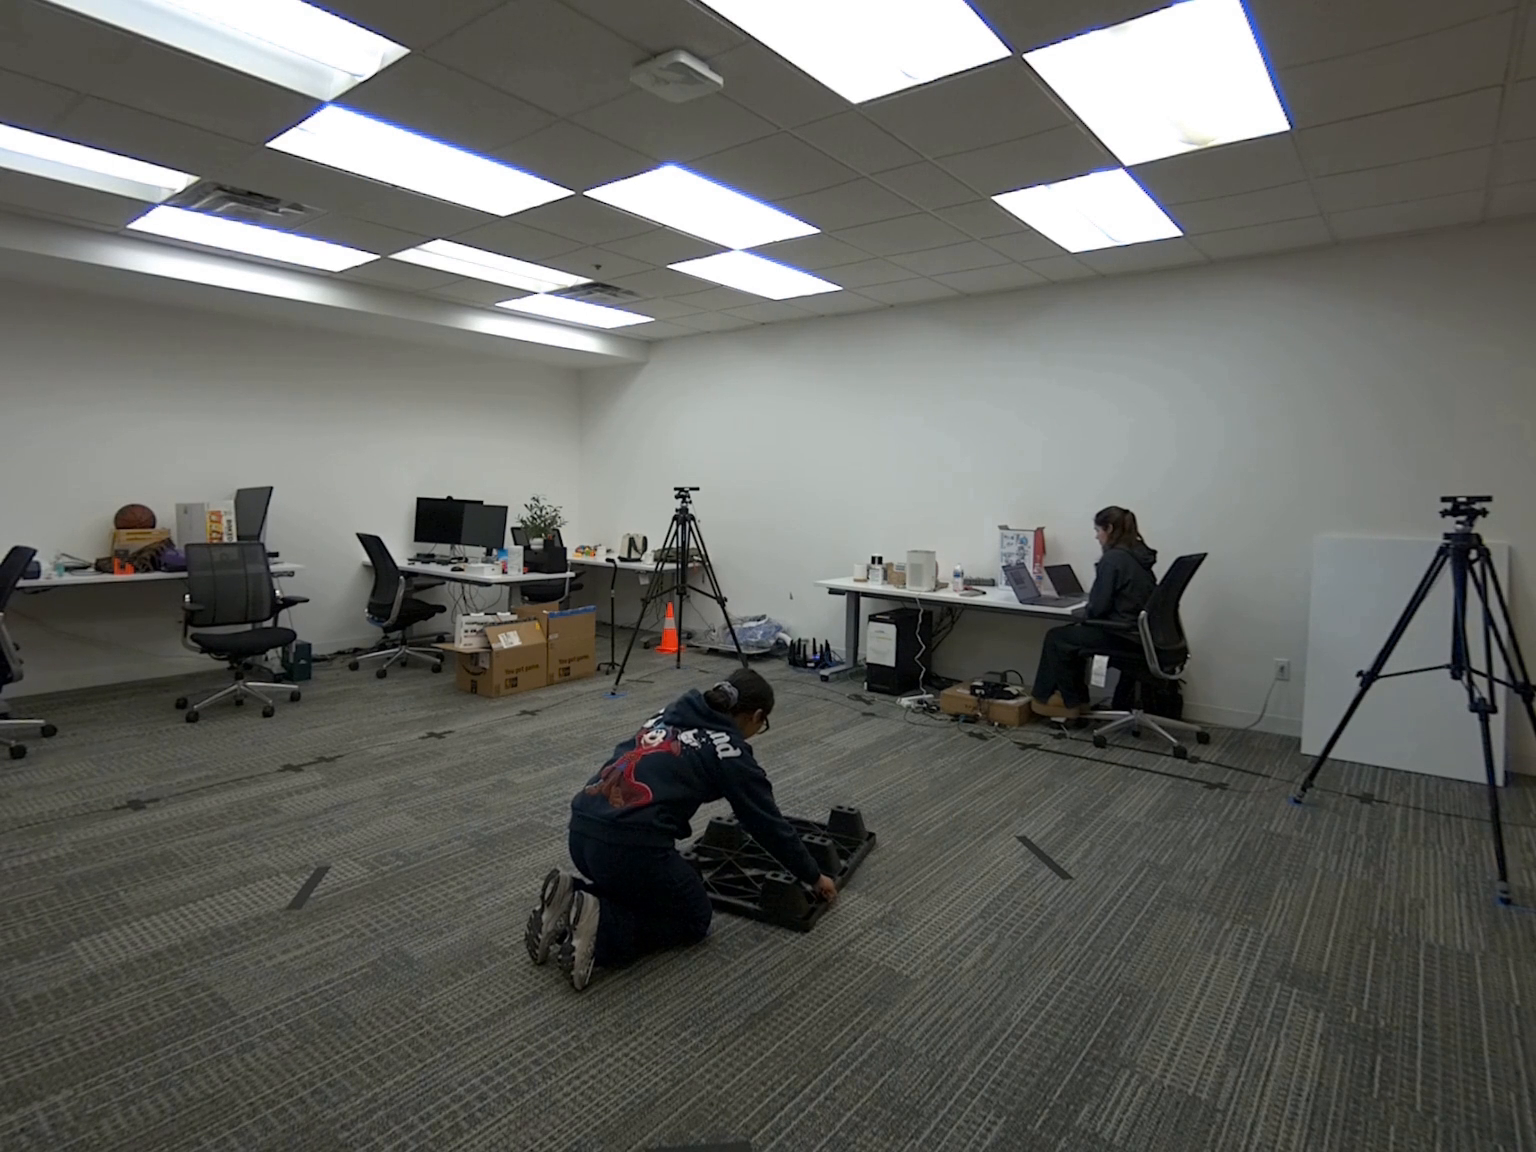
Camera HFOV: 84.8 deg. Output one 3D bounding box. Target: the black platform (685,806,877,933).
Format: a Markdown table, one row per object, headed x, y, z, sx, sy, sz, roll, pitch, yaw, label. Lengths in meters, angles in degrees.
| x | y | z | sx | sy | sz | roll | pitch | yaw | label |
| --- | --- | --- | --- | --- | --- | --- | --- | --- | --- |
| -0.002 | 1.001 | 3.138 | 0.621 | 0.143 | 0.788 | 3 | 6 | 24 | black platform |
